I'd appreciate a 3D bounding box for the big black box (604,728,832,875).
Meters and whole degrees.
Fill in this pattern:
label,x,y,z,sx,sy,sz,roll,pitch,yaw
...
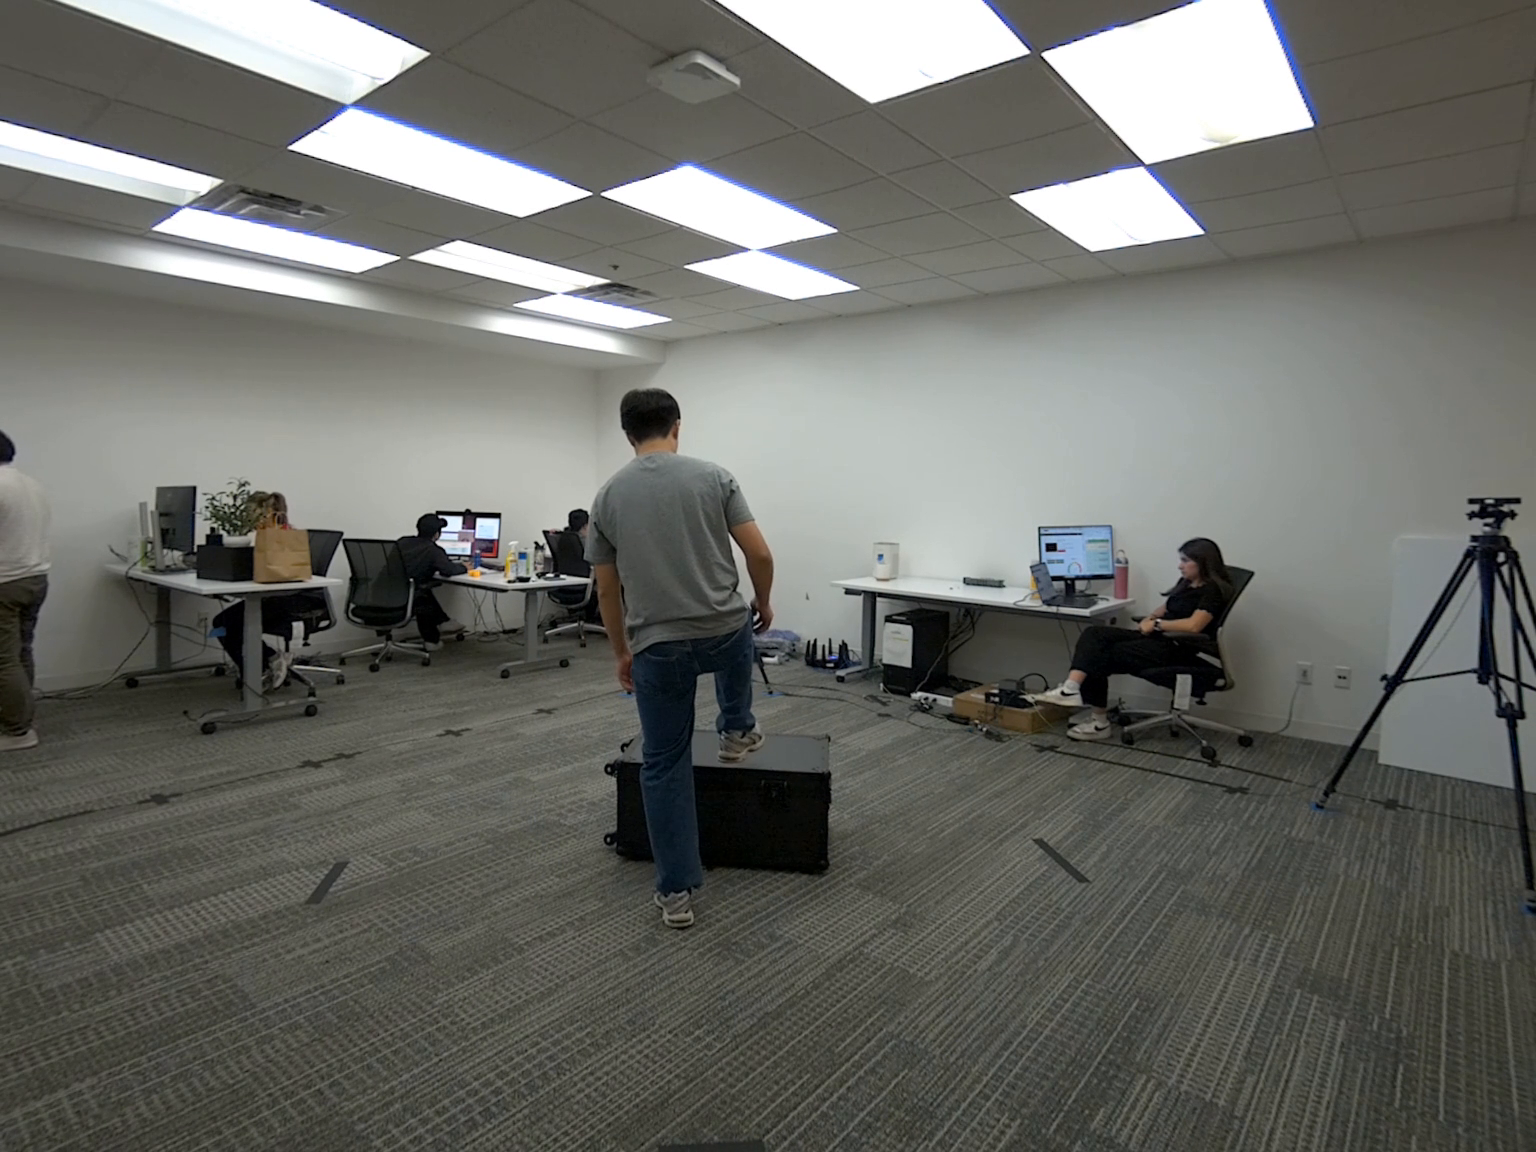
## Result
label,x,y,z,sx,sy,sz,roll,pitch,yaw
big black box,-0.198,0.850,3.338,0.868,0.395,0.520,2,5,6
